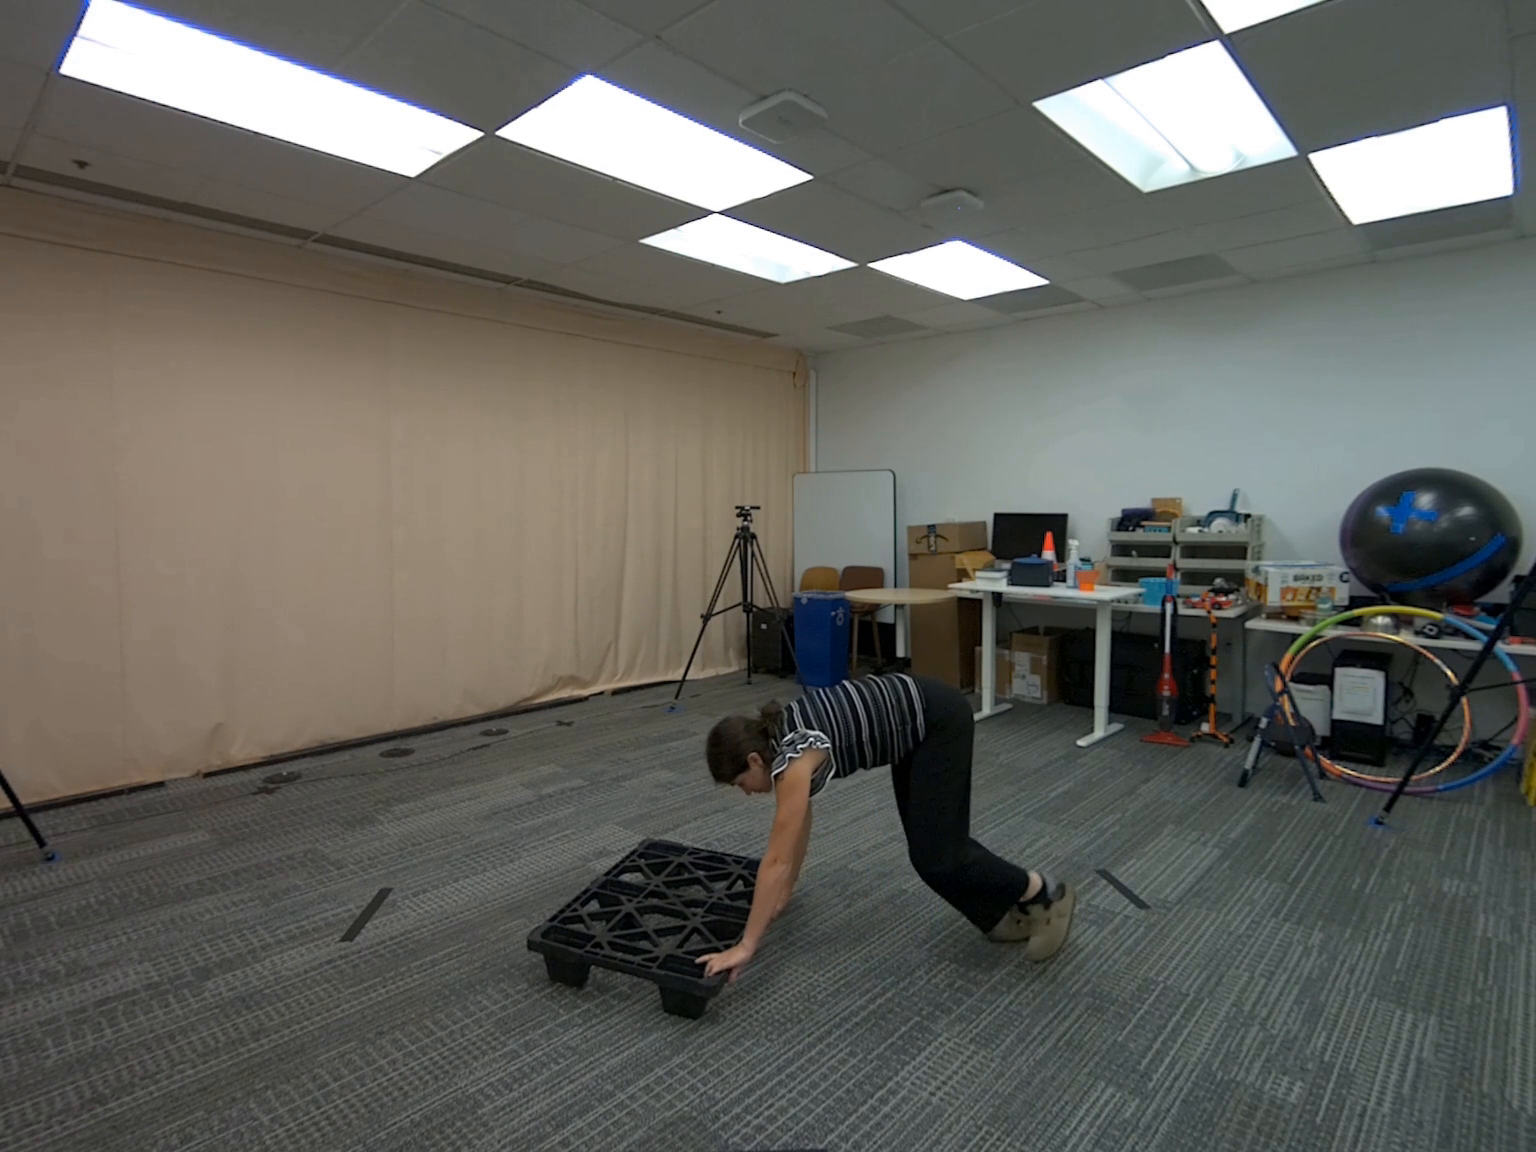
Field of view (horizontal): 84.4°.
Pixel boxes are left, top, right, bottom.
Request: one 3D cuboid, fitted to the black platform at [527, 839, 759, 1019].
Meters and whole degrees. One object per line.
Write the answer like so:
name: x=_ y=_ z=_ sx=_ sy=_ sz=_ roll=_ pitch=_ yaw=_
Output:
black platform: x=-0.302 y=1.098 z=2.701 sx=0.618 sy=0.143 sz=0.790 roll=2 pitch=5 yaw=20
